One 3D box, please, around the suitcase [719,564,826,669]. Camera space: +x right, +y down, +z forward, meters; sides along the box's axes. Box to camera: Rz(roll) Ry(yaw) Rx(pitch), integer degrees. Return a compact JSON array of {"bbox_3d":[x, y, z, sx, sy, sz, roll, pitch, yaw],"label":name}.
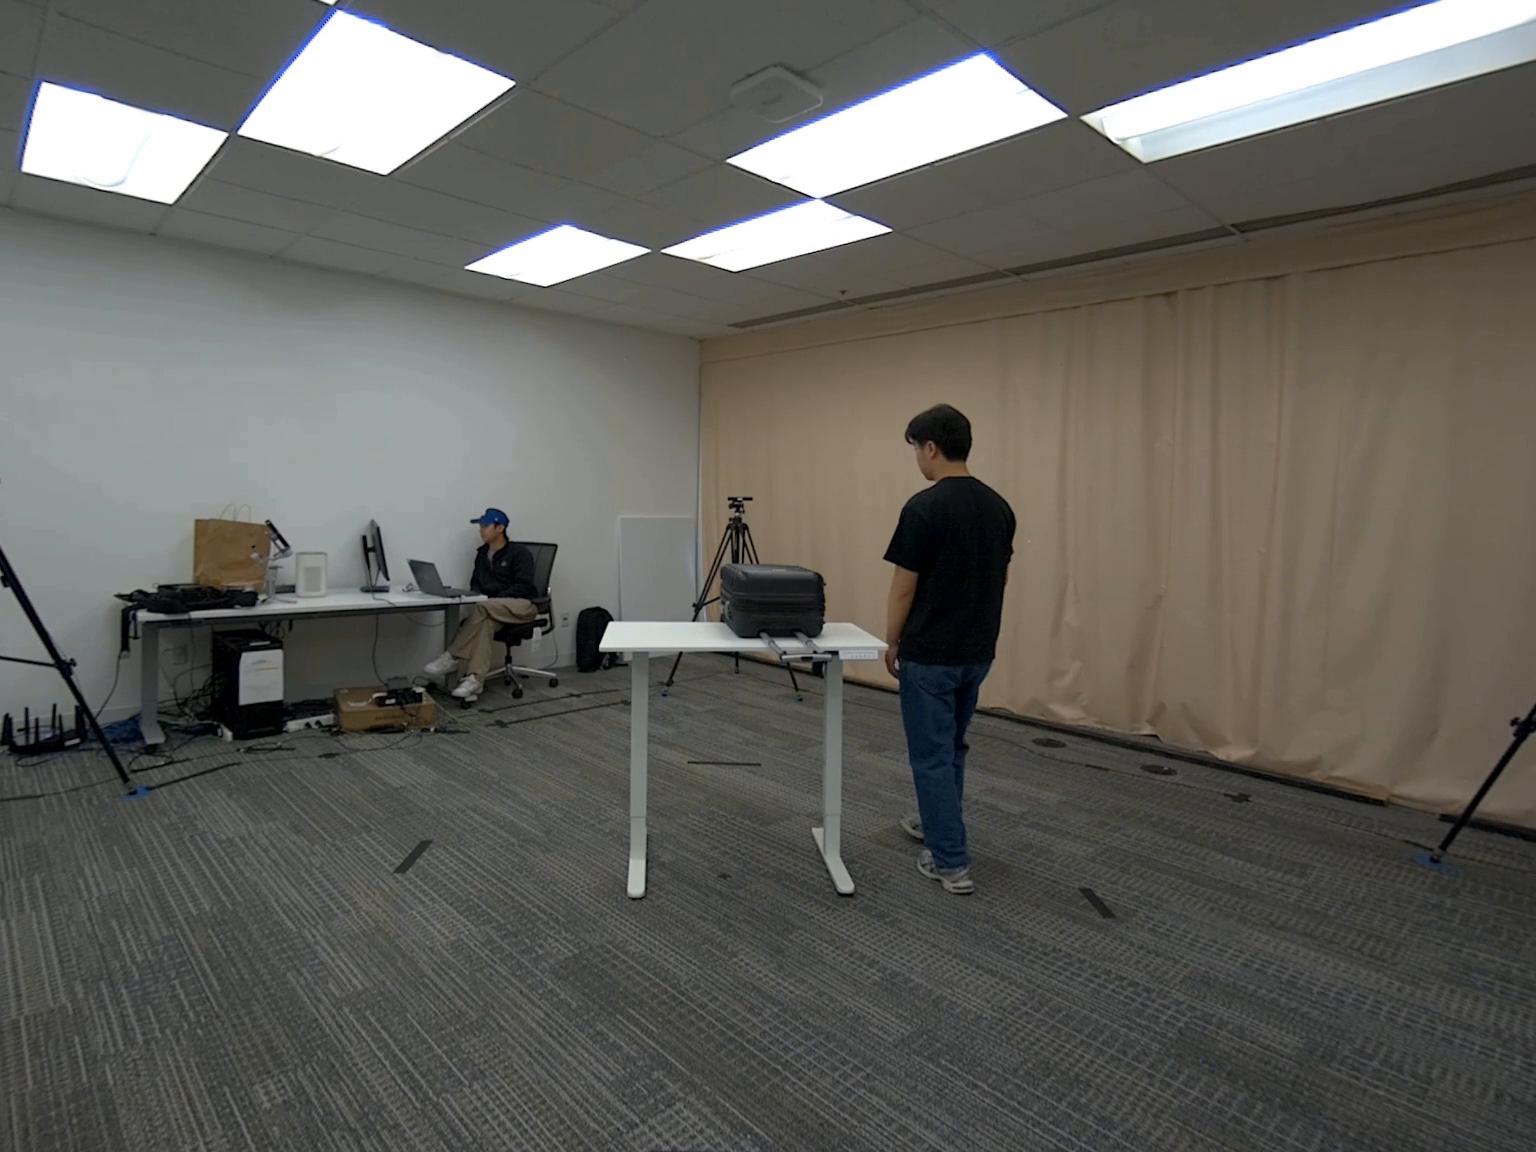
[{"bbox_3d":[0.037,0.105,3.099,0.381,0.257,0.986,1,3,-9],"label":"suitcase"}]
